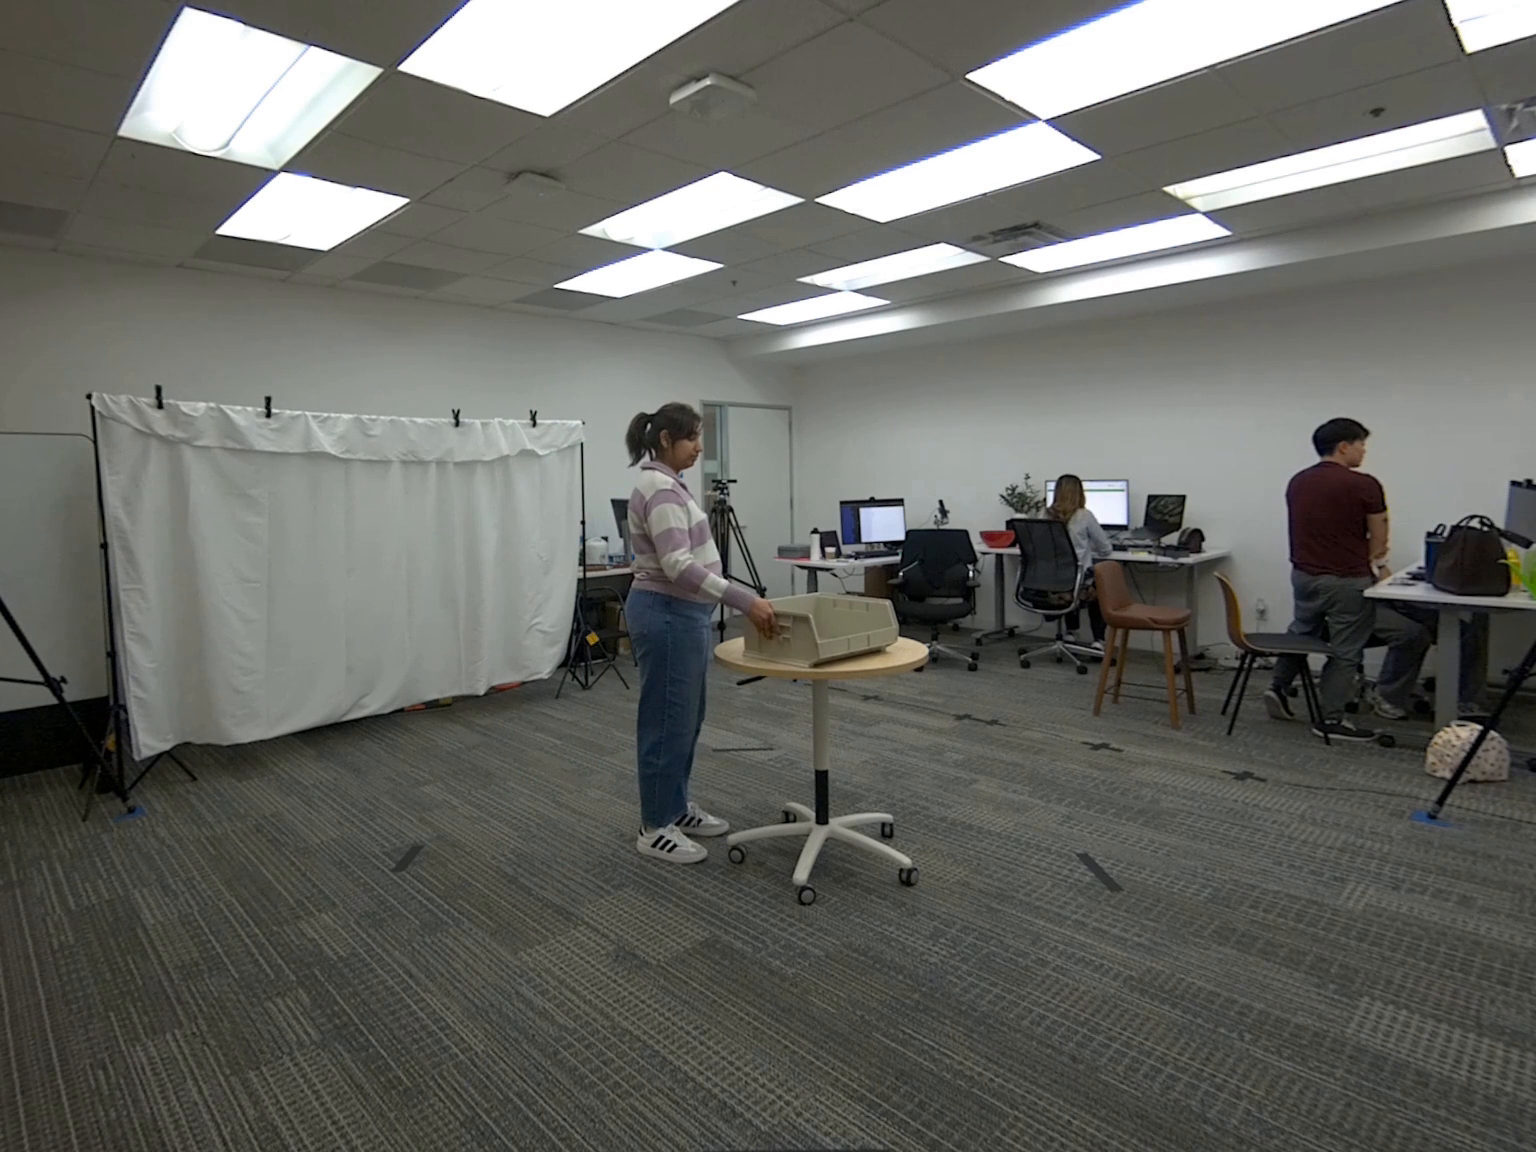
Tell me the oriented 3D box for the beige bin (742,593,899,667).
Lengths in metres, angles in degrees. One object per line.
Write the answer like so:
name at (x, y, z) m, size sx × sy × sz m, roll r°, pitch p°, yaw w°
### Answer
beige bin at (0.180, 0.185, 2.973) m, size 0.411 × 0.188 × 0.388 m, roll -7°, pitch 6°, yaw -41°
